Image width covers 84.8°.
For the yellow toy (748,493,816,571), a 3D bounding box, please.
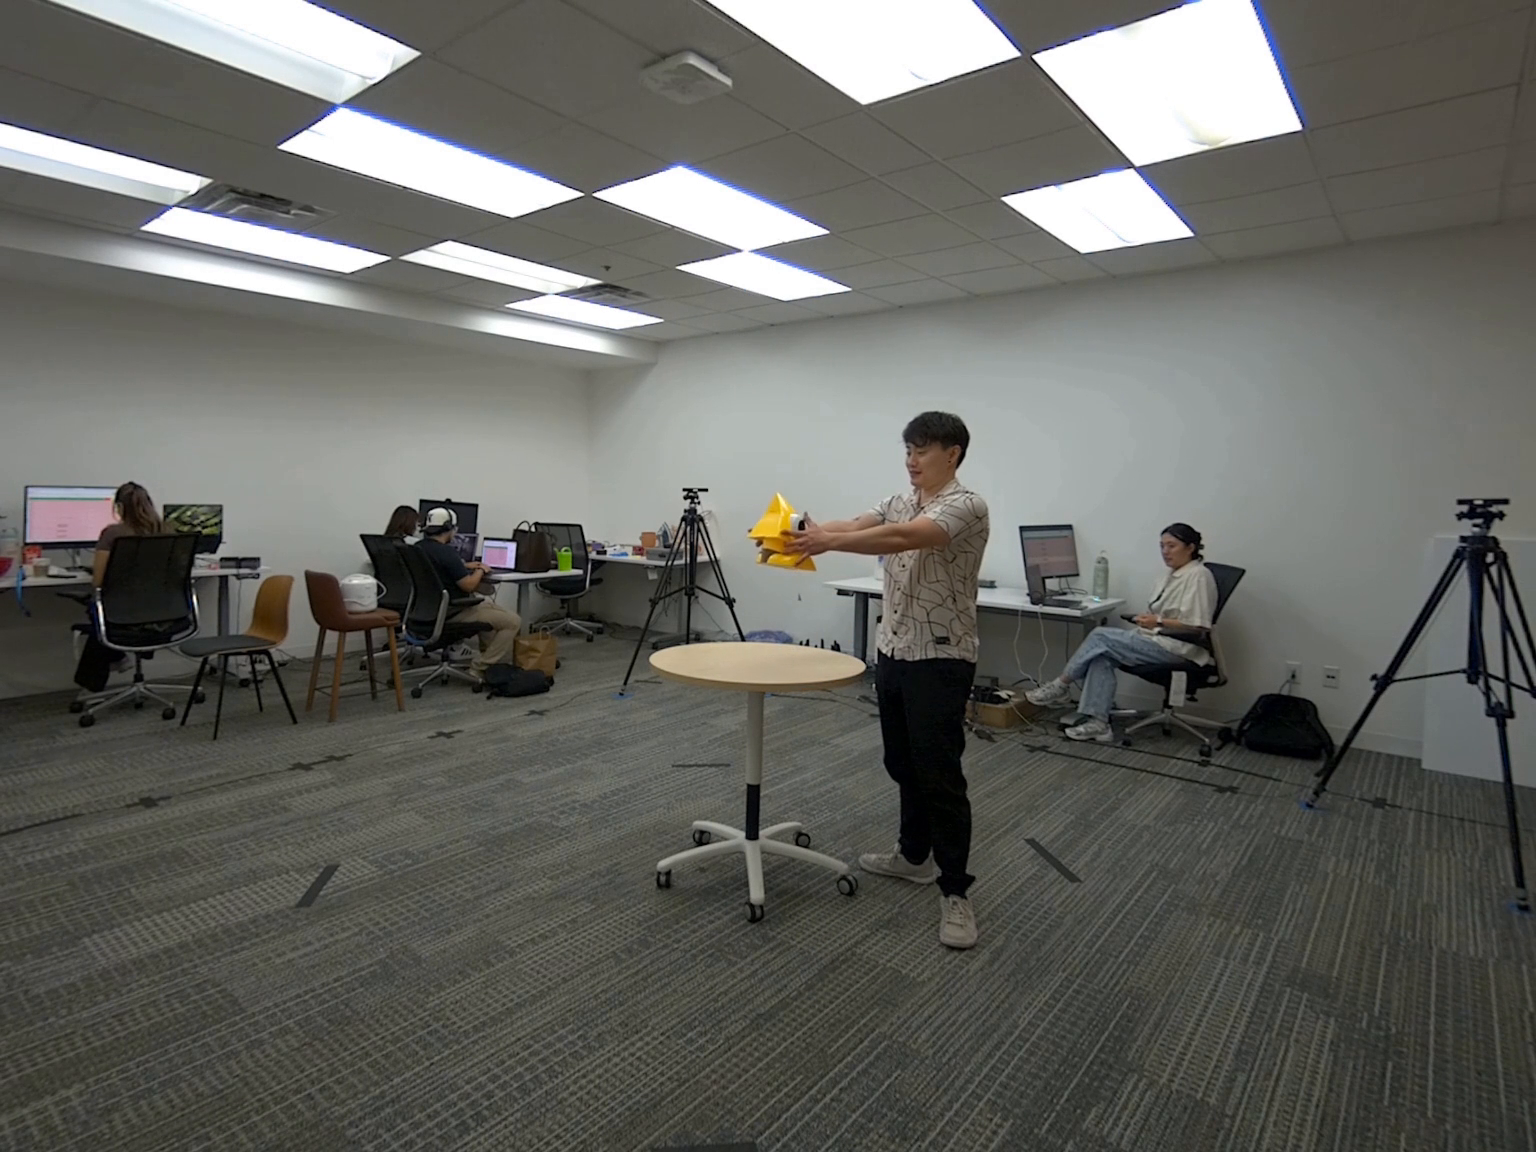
[{"bbox_3d":[0.059,-0.147,2.744,0.187,0.231,0.210,12,-5,-28],"label":"yellow toy"}]
